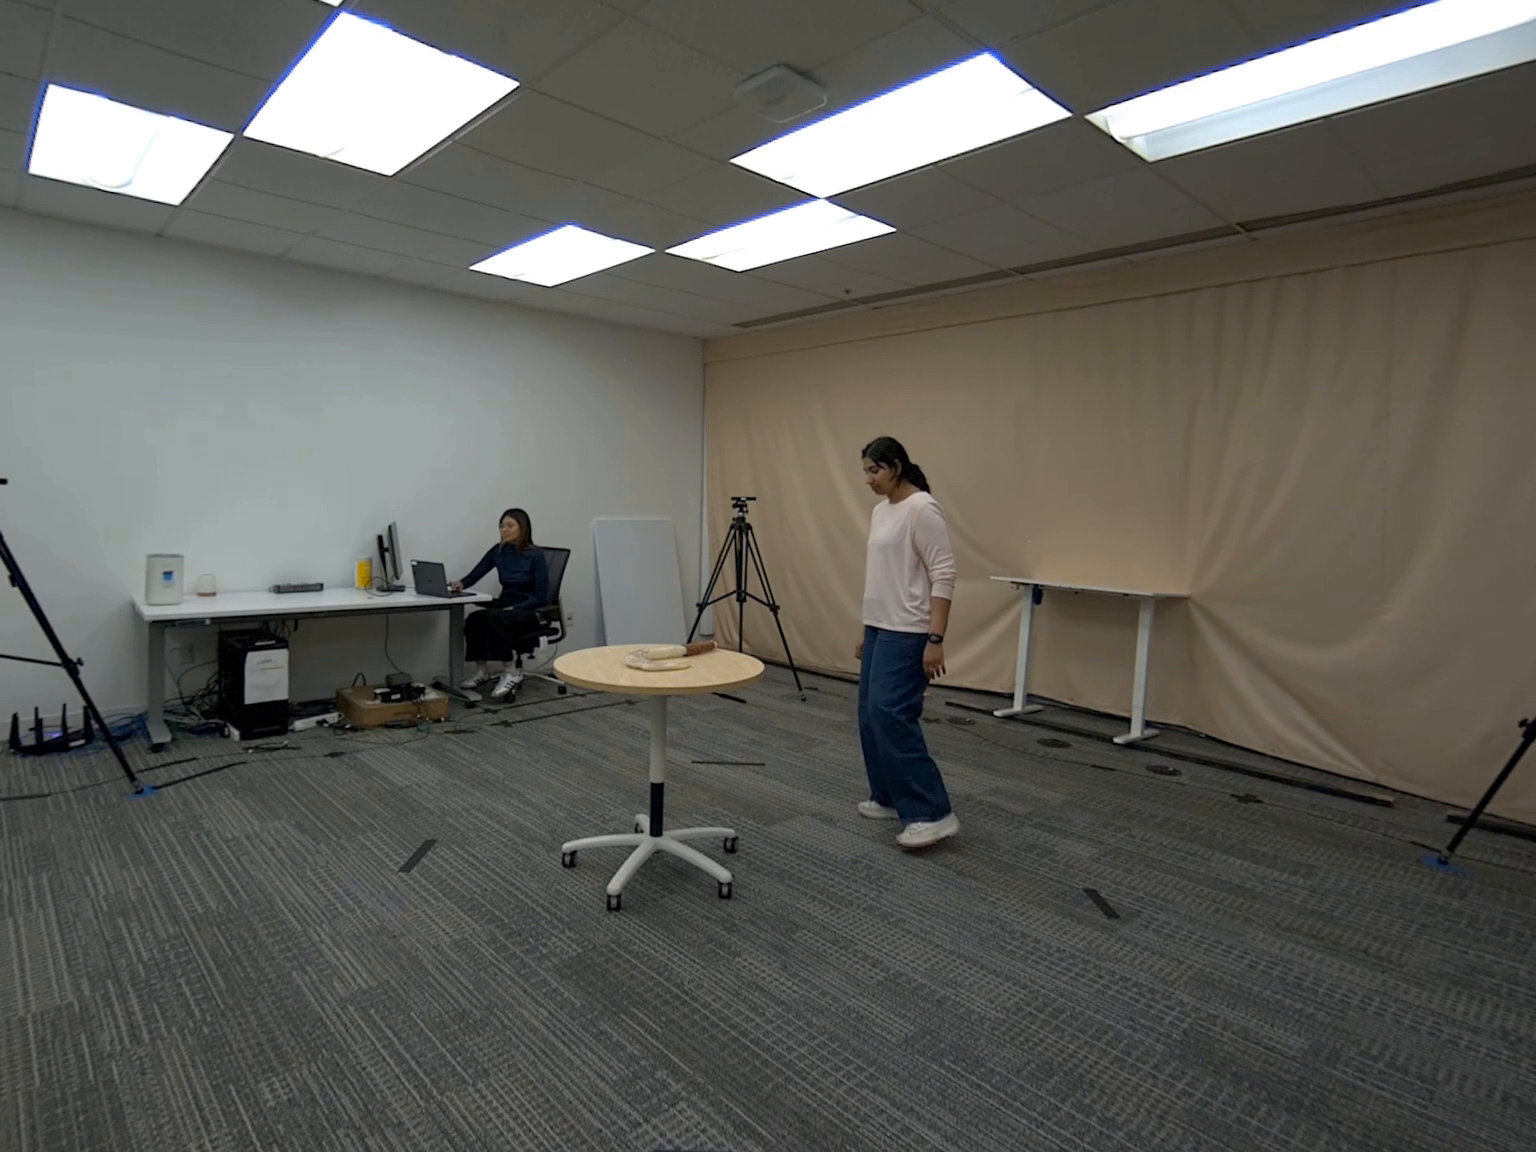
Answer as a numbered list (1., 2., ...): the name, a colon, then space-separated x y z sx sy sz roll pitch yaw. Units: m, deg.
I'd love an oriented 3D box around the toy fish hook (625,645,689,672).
1. toy fish hook: -0.332 0.306 3.141 0.231 0.048 0.496 17 14 35
